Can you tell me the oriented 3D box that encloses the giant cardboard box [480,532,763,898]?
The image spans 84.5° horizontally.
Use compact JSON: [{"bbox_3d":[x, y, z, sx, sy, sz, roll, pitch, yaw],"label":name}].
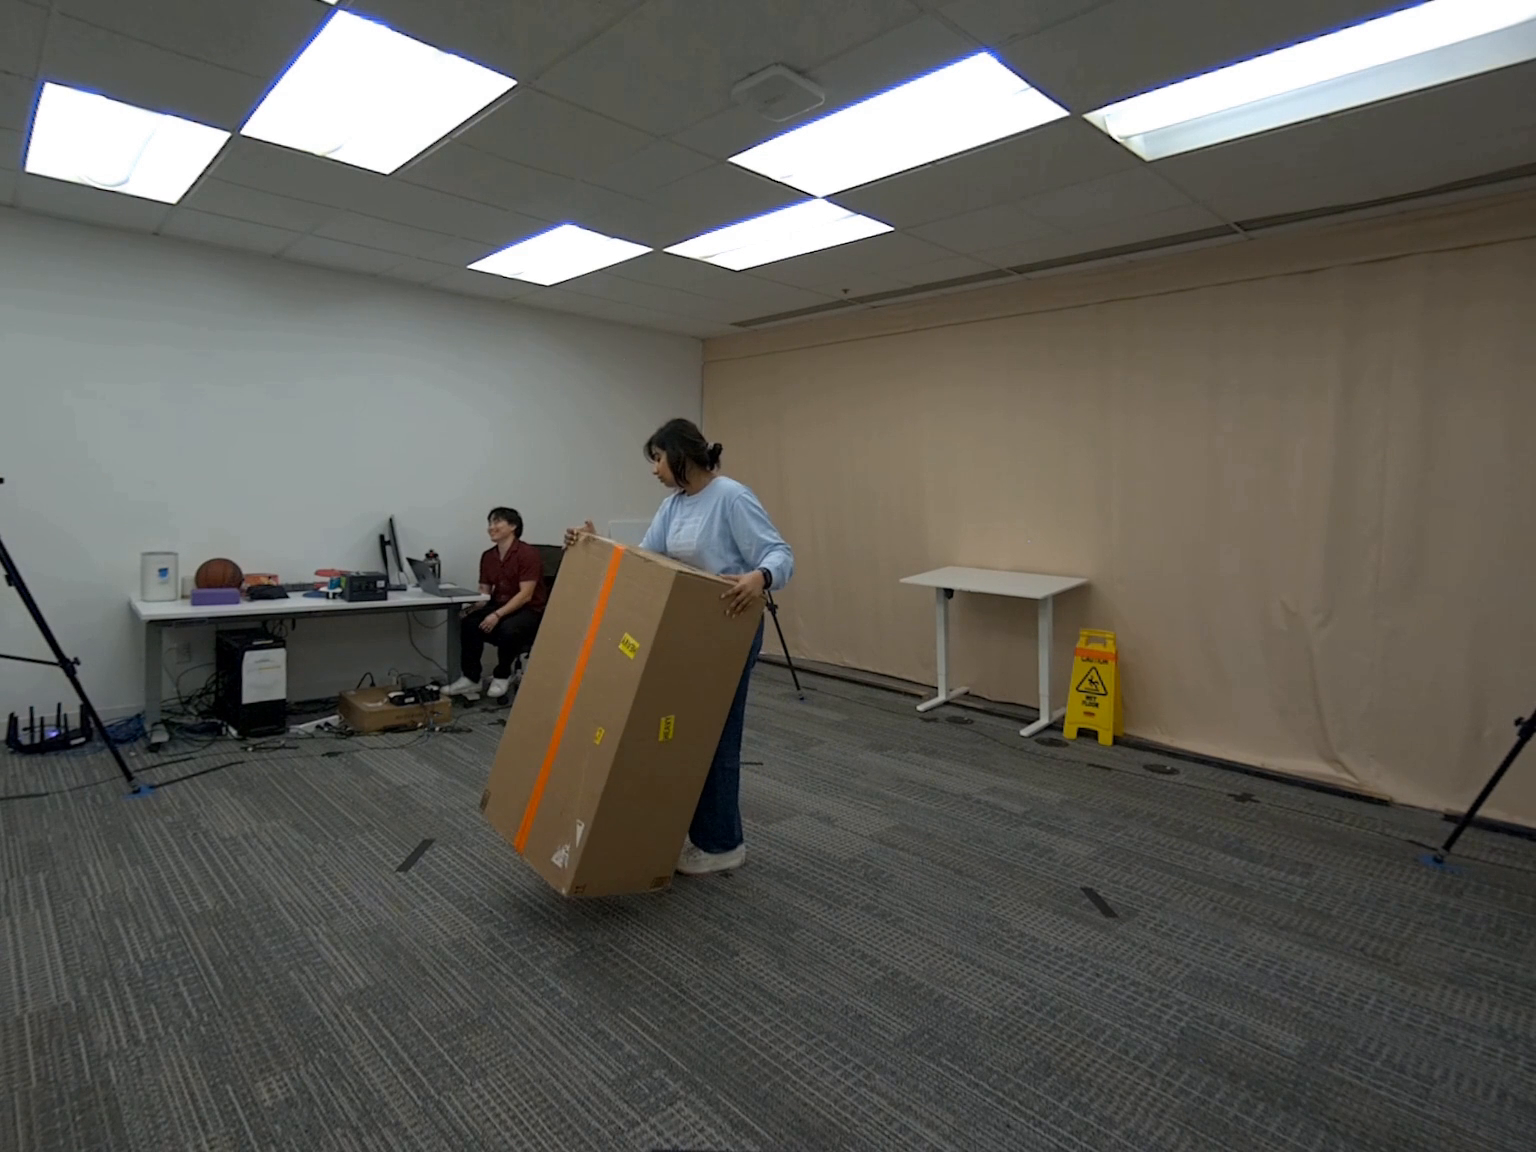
[{"bbox_3d":[-0.509,0.440,2.803,0.601,1.026,0.434,19,1,44],"label":"giant cardboard box"}]
